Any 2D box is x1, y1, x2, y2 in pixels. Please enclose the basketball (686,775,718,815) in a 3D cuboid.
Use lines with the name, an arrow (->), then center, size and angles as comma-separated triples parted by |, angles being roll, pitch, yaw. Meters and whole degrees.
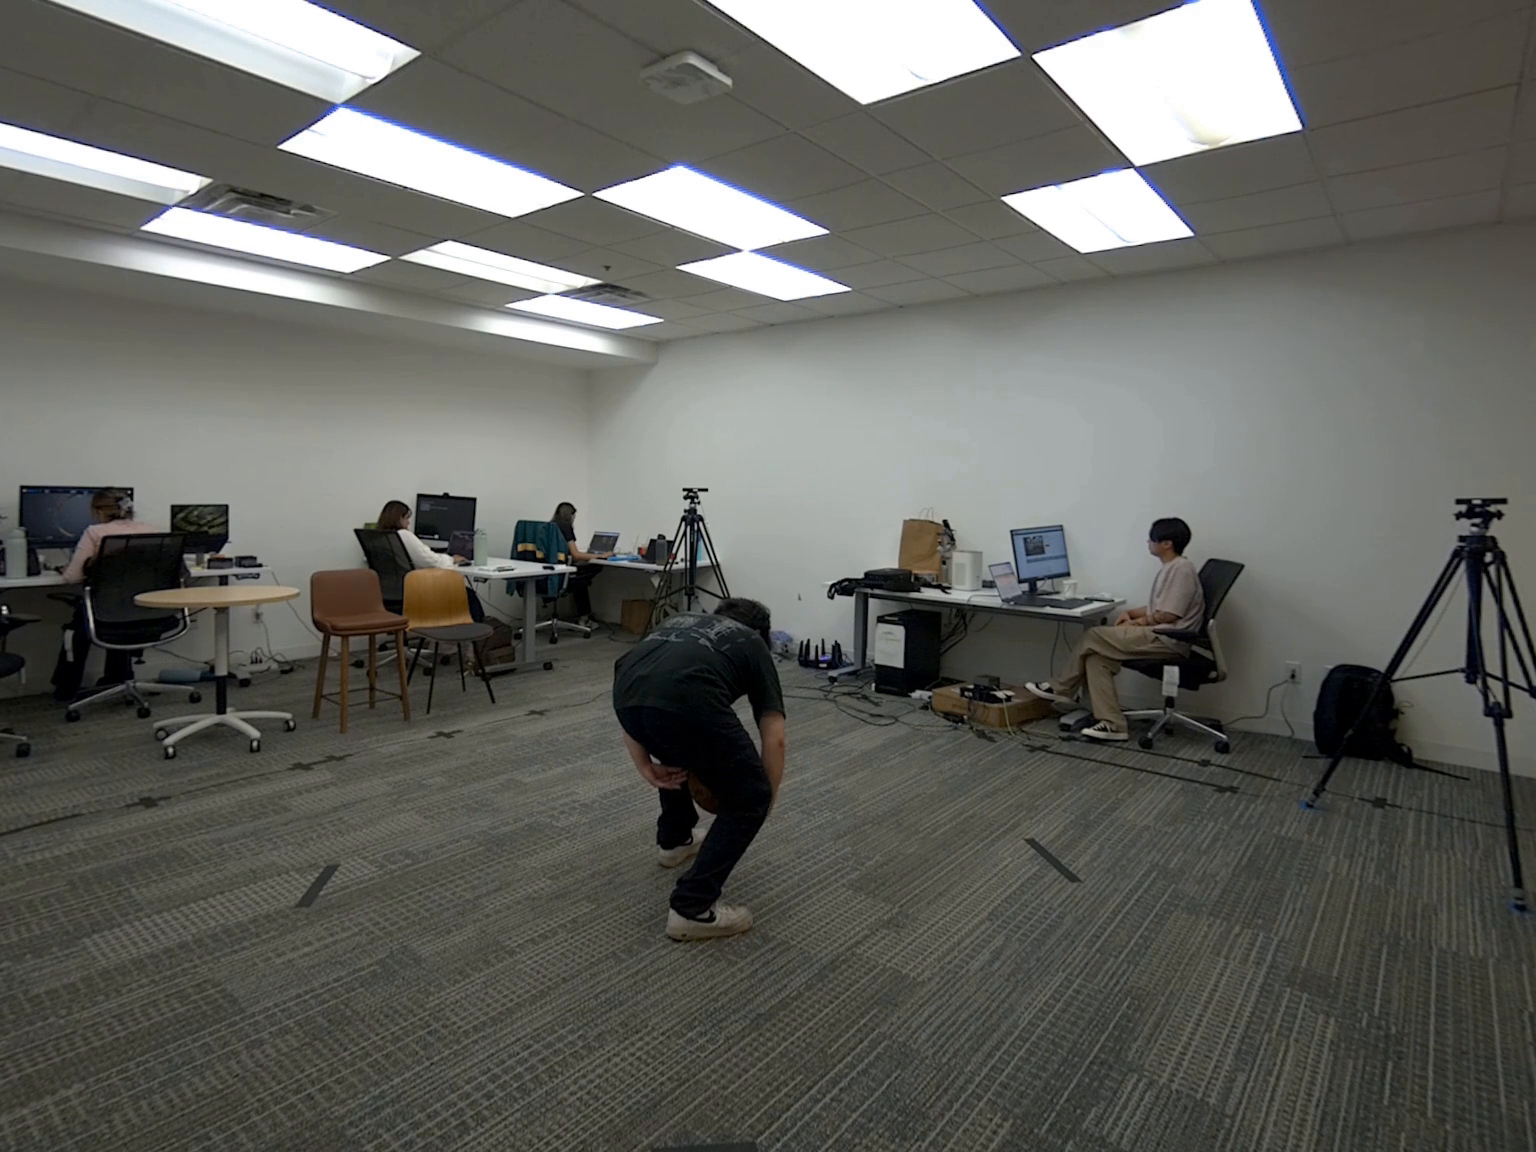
basketball -> -0.169, 0.706, 2.938 | 0.235, 0.235, 0.237 | 1, 4, -2
